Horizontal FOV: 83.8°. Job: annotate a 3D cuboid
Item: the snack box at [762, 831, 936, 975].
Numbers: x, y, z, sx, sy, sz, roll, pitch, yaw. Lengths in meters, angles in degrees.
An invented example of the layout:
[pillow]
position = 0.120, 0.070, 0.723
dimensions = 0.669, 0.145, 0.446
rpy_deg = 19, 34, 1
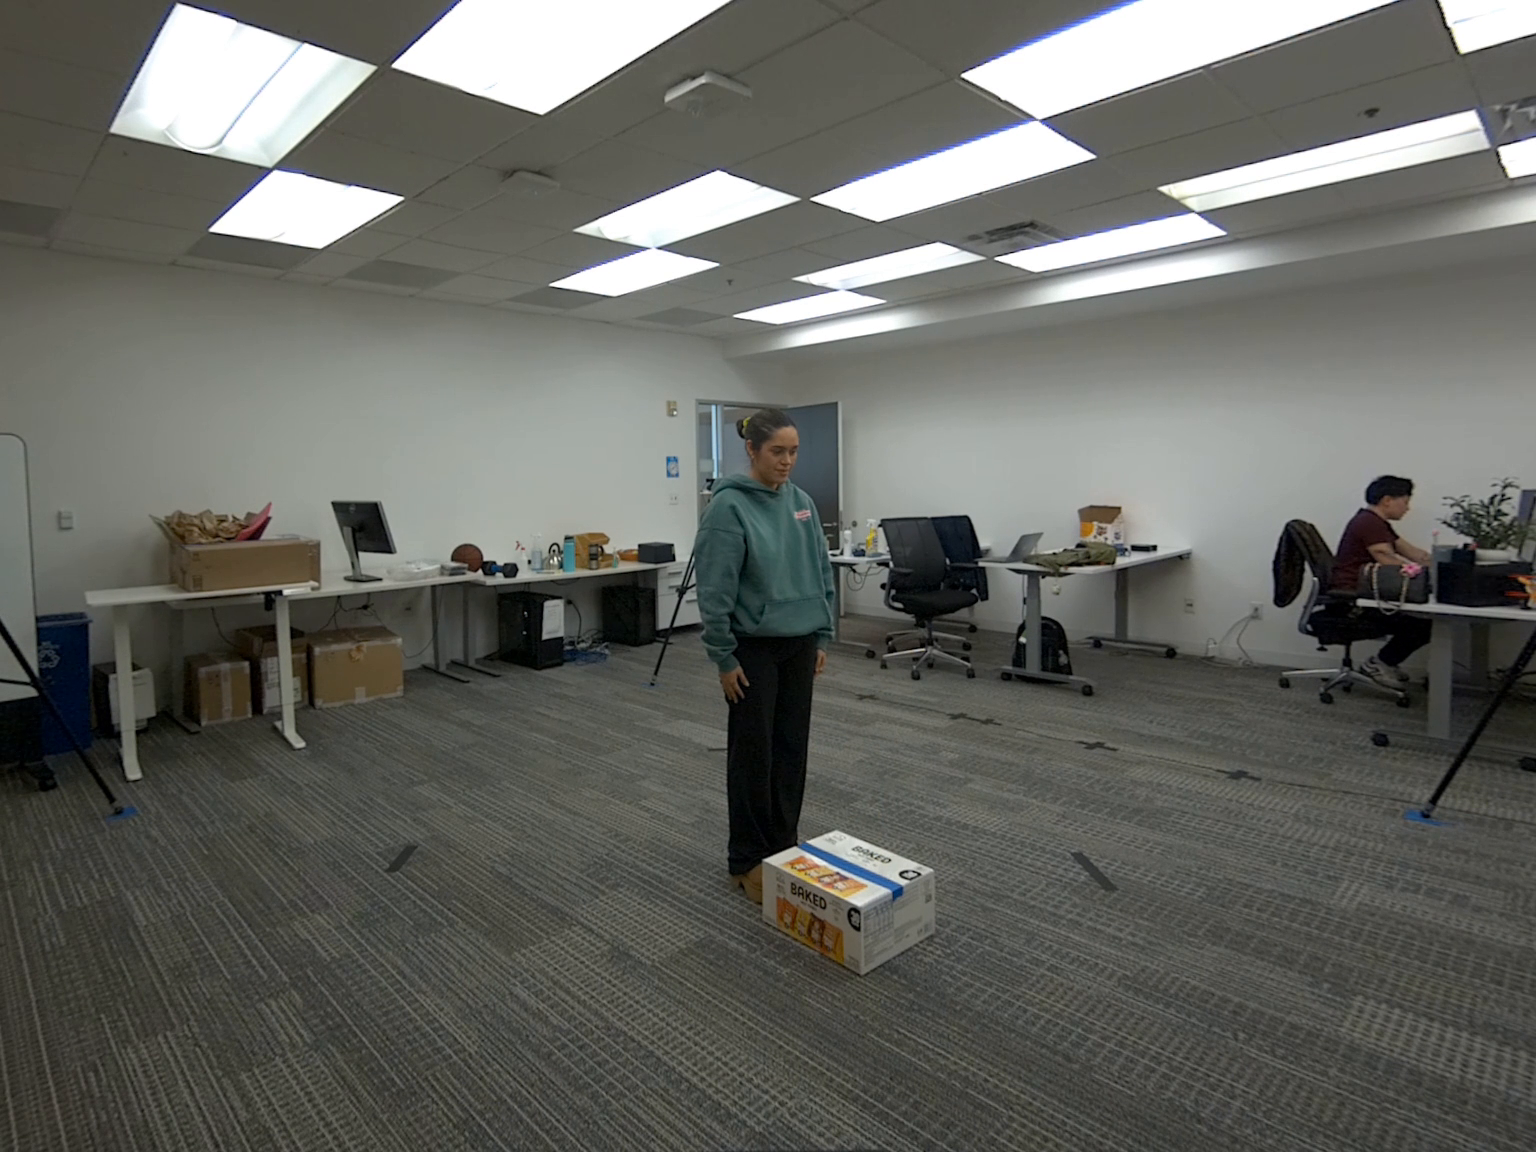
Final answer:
[snack box]
position = 0.253, 0.994, 2.634
dimensions = 0.331, 0.205, 0.418
rpy_deg = -7, 8, -41
